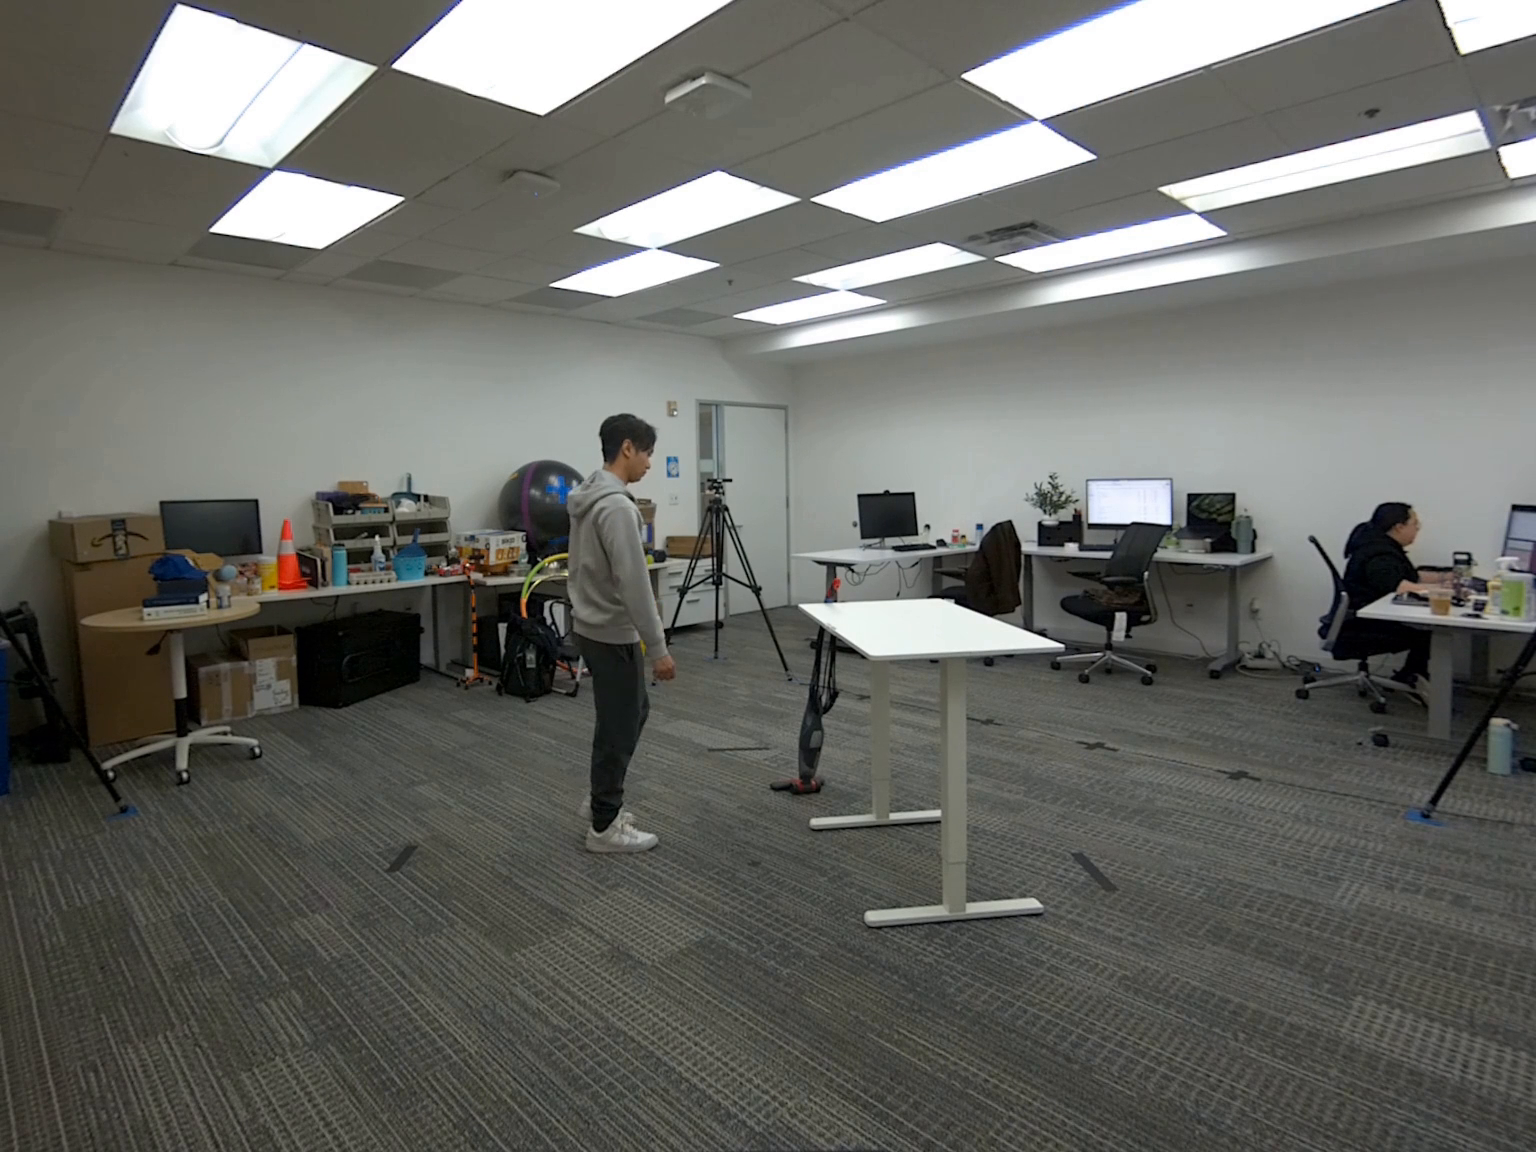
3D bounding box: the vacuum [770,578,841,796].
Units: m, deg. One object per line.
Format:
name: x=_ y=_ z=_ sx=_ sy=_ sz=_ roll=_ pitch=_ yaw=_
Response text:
vacuum: x=0.216 y=0.496 z=3.640 sx=0.248 sy=1.031 sz=0.149 roll=-3 pitch=26 yaw=-23
